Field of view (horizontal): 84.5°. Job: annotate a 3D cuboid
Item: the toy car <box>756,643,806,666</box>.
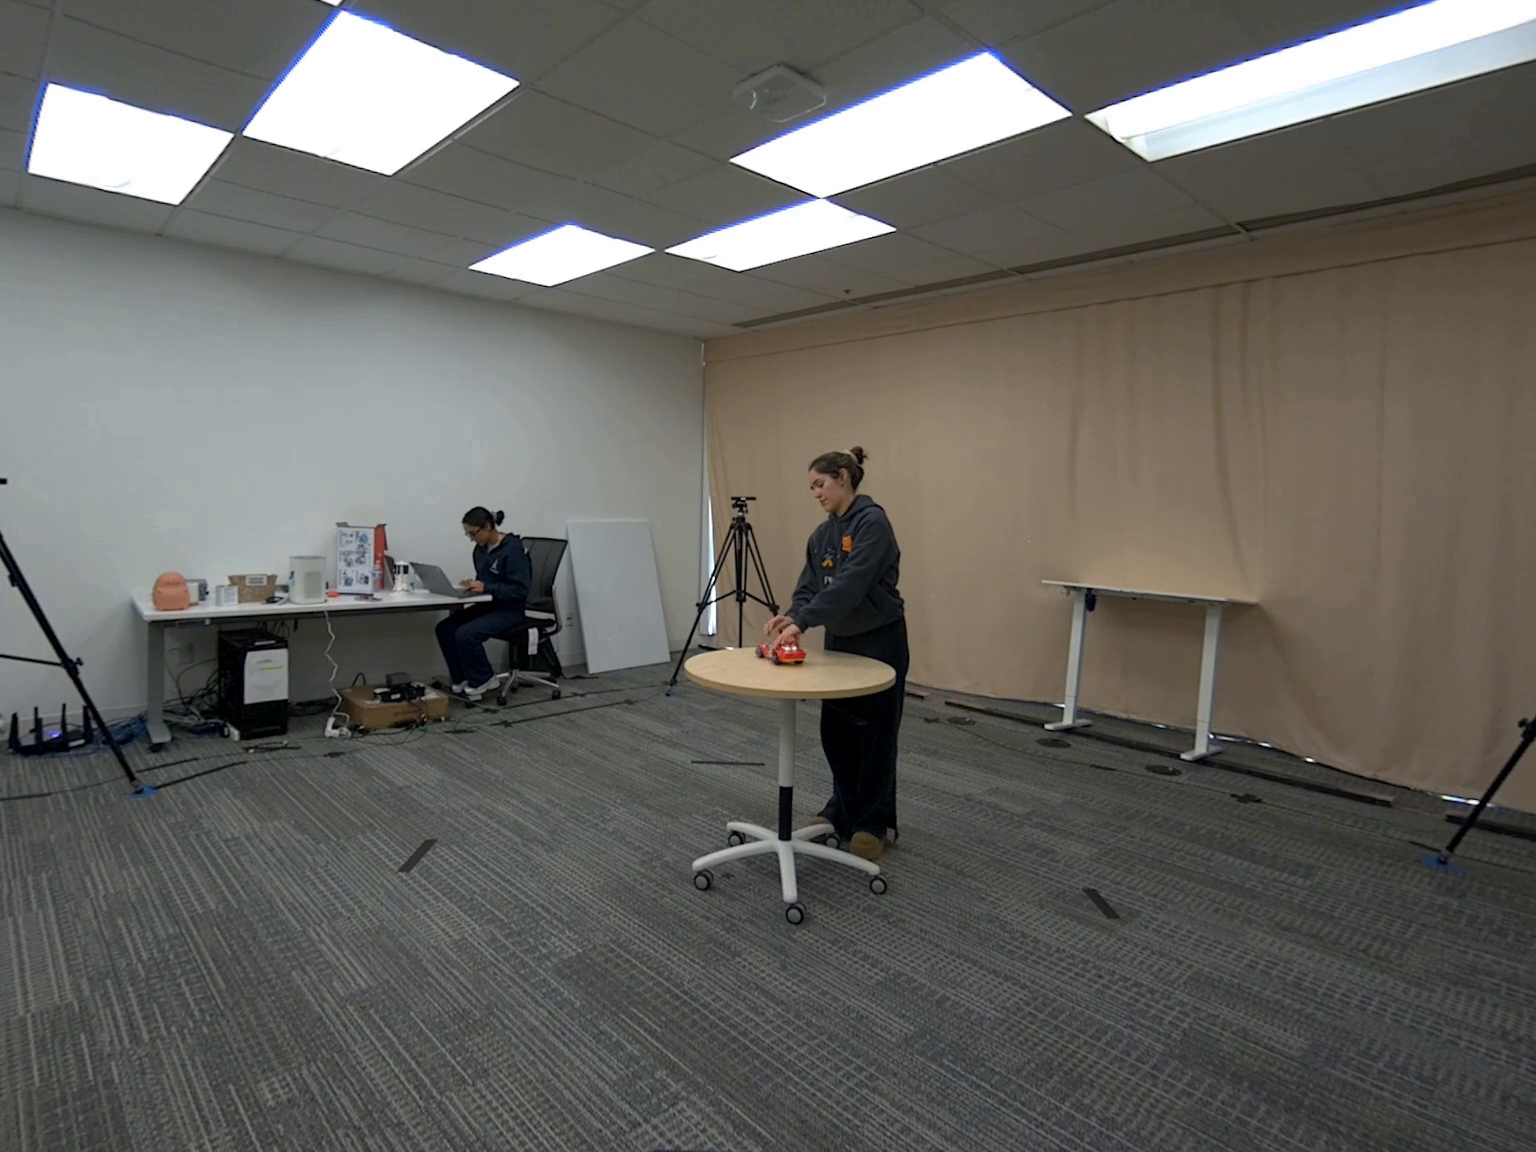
[{"bbox_3d":[0.041,0.292,3.165,0.128,0.083,0.257,0,-5,-23],"label":"toy car"}]
